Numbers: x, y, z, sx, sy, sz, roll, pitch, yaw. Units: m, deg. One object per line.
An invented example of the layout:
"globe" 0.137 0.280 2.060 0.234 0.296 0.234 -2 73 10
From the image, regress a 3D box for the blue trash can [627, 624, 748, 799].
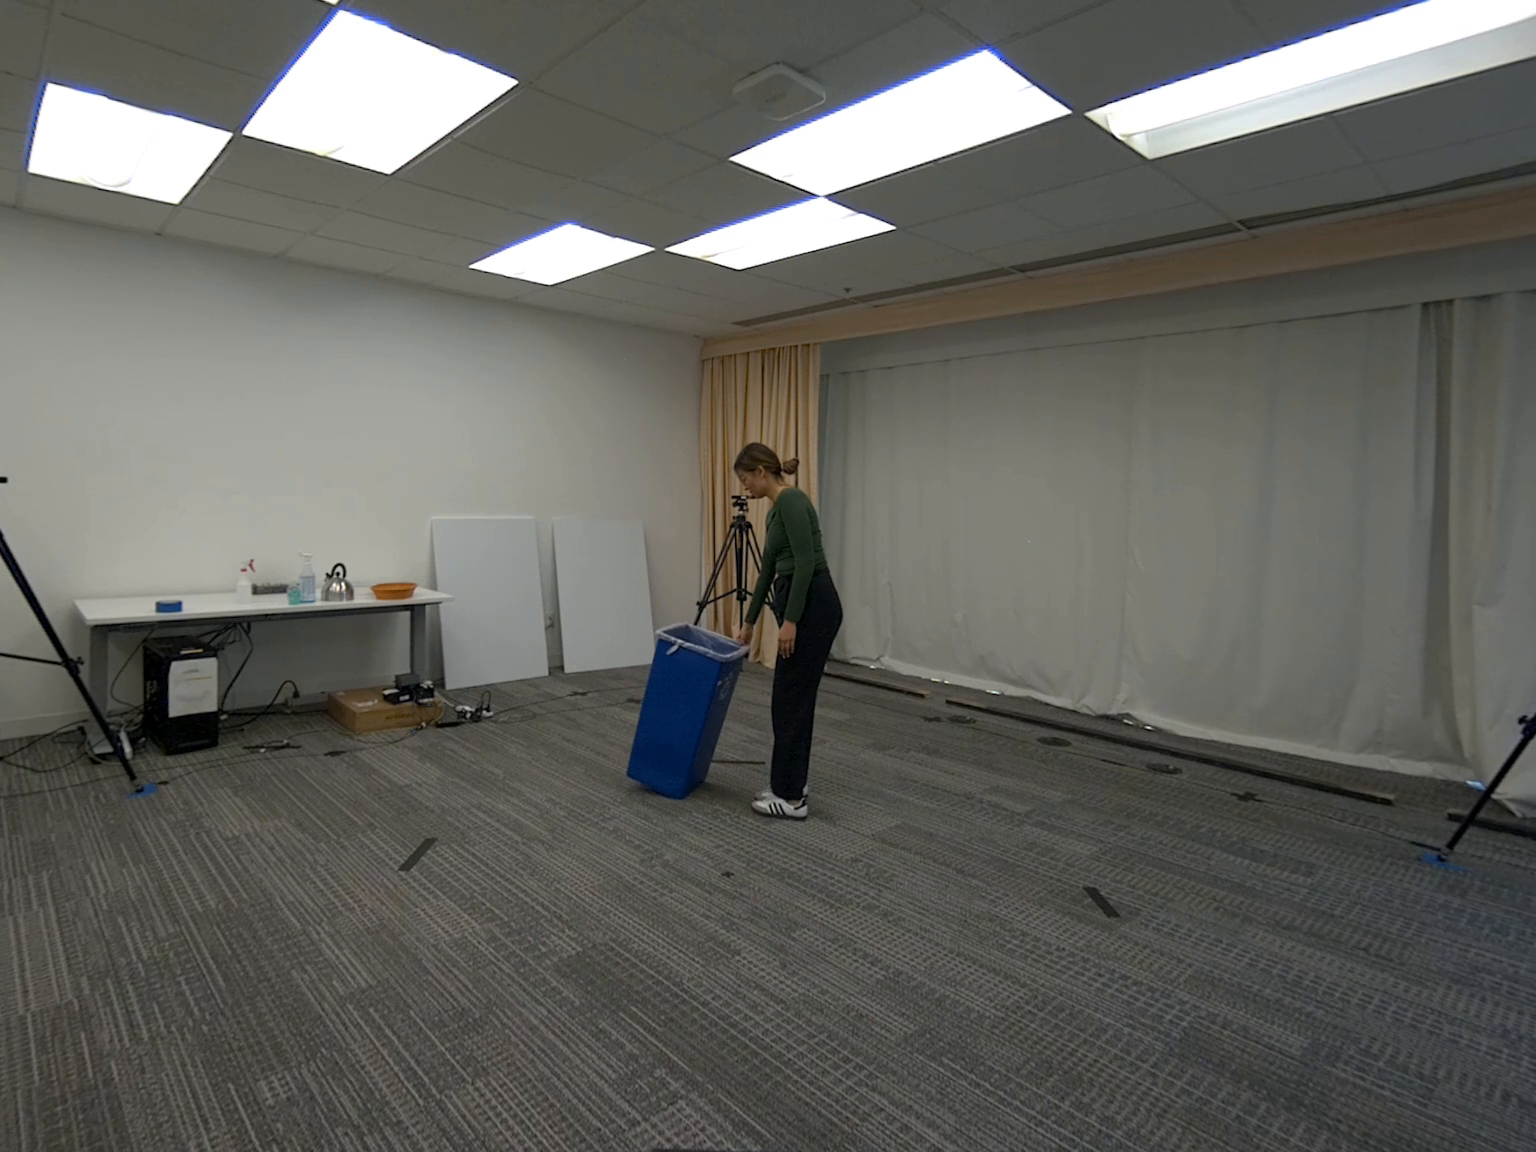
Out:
"blue trash can" -0.402 0.629 3.991 0.380 0.711 0.373 19 8 17
